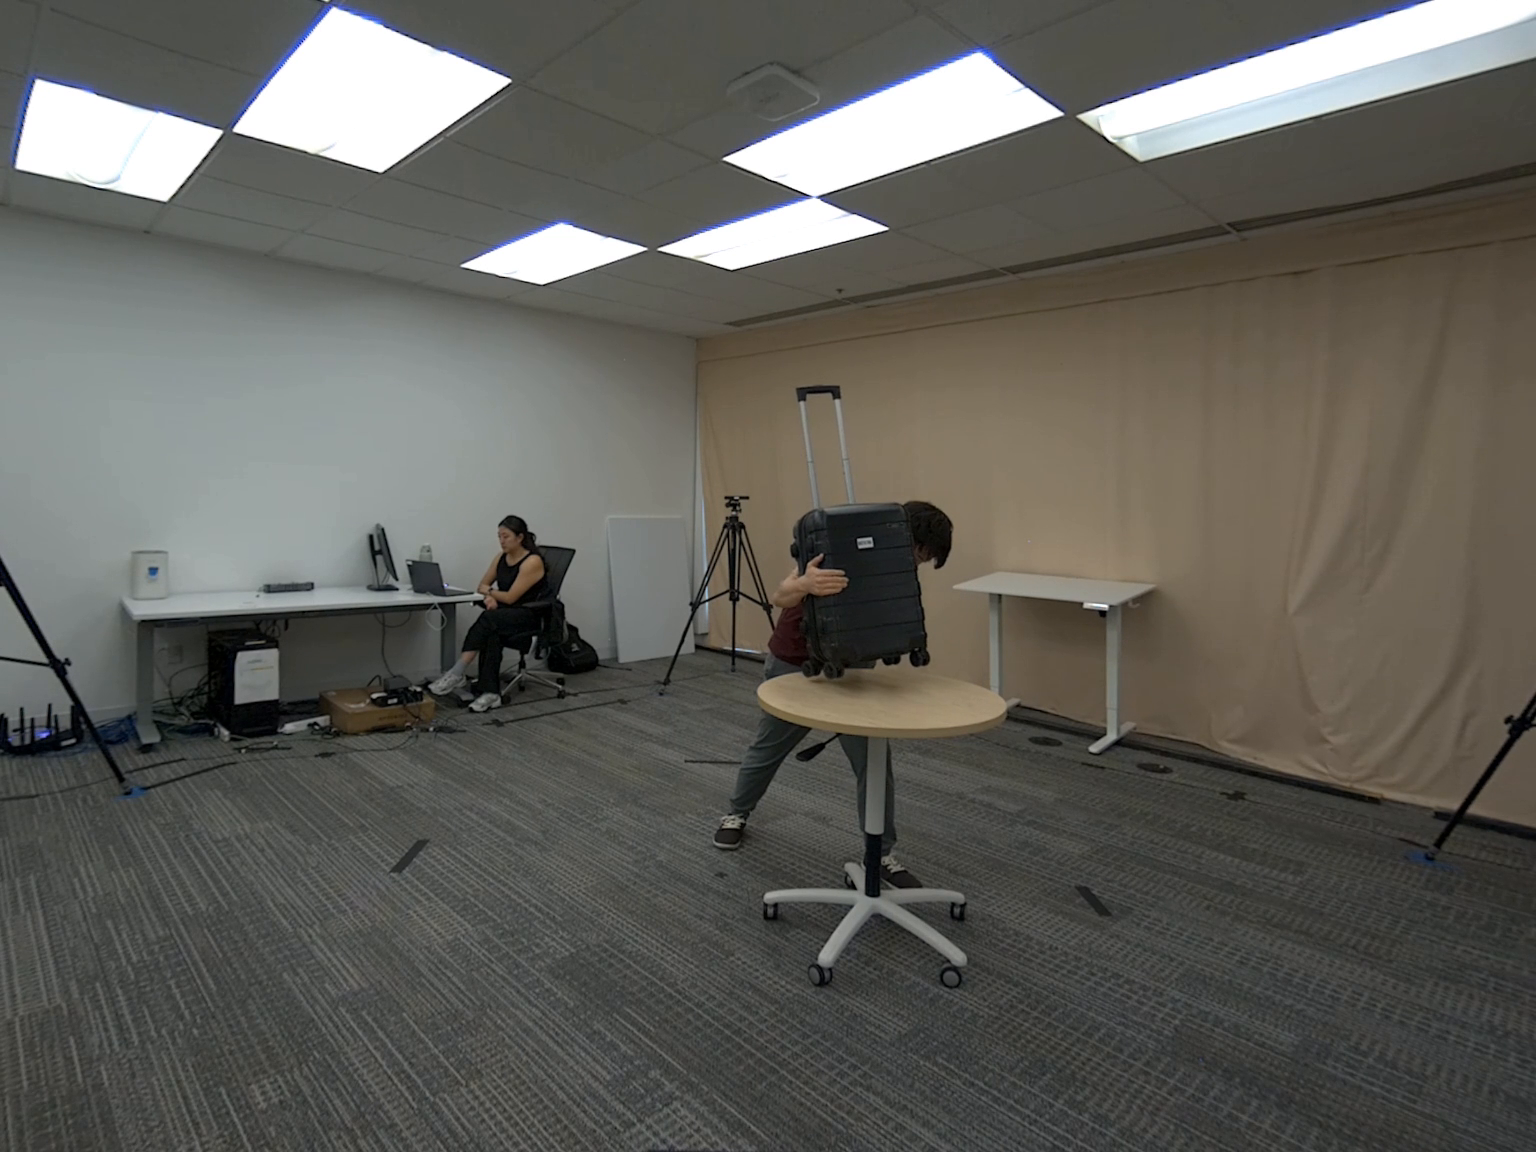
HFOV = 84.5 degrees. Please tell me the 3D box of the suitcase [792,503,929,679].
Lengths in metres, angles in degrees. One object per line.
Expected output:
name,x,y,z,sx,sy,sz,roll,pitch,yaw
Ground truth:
suitcase,0.270,-0.167,2.770,0.380,0.981,0.259,-5,-3,-15
